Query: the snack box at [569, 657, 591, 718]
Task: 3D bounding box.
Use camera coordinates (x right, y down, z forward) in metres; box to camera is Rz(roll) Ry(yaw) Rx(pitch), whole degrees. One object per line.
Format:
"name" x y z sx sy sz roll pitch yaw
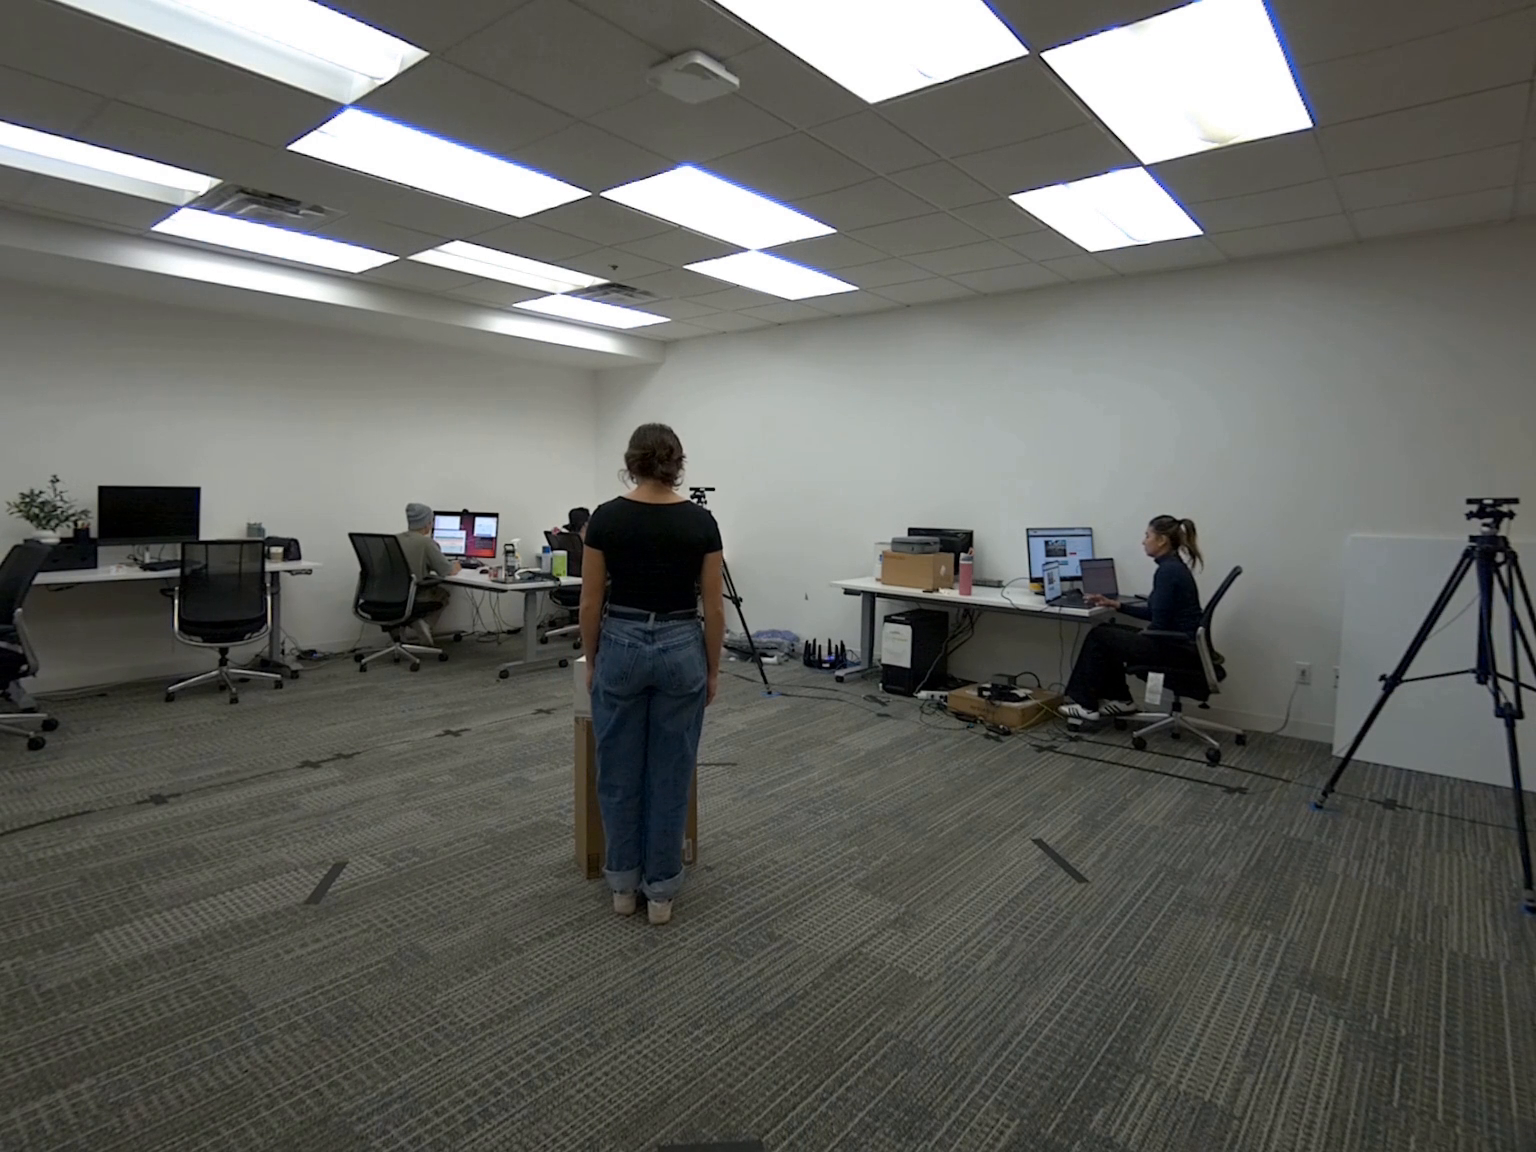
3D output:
"snack box" -0.469 0.389 3.135 0.410 0.205 0.337 2 4 11
